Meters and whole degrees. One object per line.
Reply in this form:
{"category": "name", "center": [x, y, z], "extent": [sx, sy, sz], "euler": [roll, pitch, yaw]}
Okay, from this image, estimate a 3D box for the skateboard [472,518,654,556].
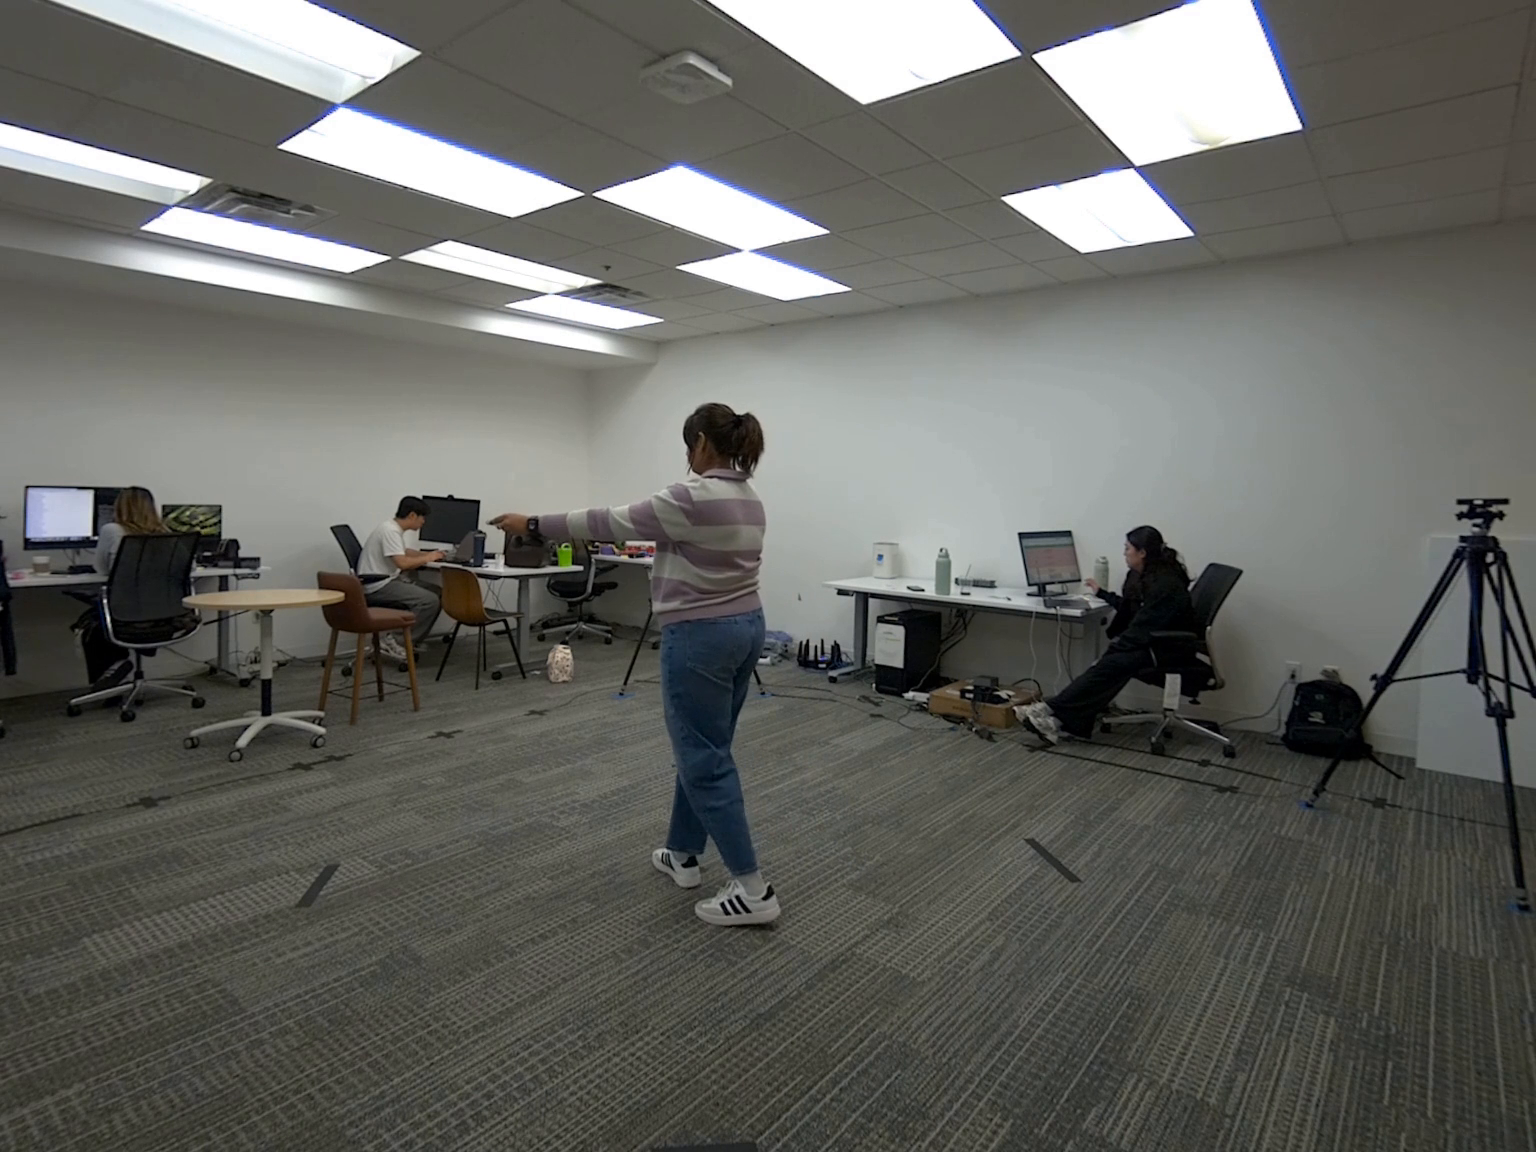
{"category": "skateboard", "center": [-0.738, -0.158, 3.155], "extent": [0.199, 0.110, 0.765], "euler": [6, 6, 29]}
